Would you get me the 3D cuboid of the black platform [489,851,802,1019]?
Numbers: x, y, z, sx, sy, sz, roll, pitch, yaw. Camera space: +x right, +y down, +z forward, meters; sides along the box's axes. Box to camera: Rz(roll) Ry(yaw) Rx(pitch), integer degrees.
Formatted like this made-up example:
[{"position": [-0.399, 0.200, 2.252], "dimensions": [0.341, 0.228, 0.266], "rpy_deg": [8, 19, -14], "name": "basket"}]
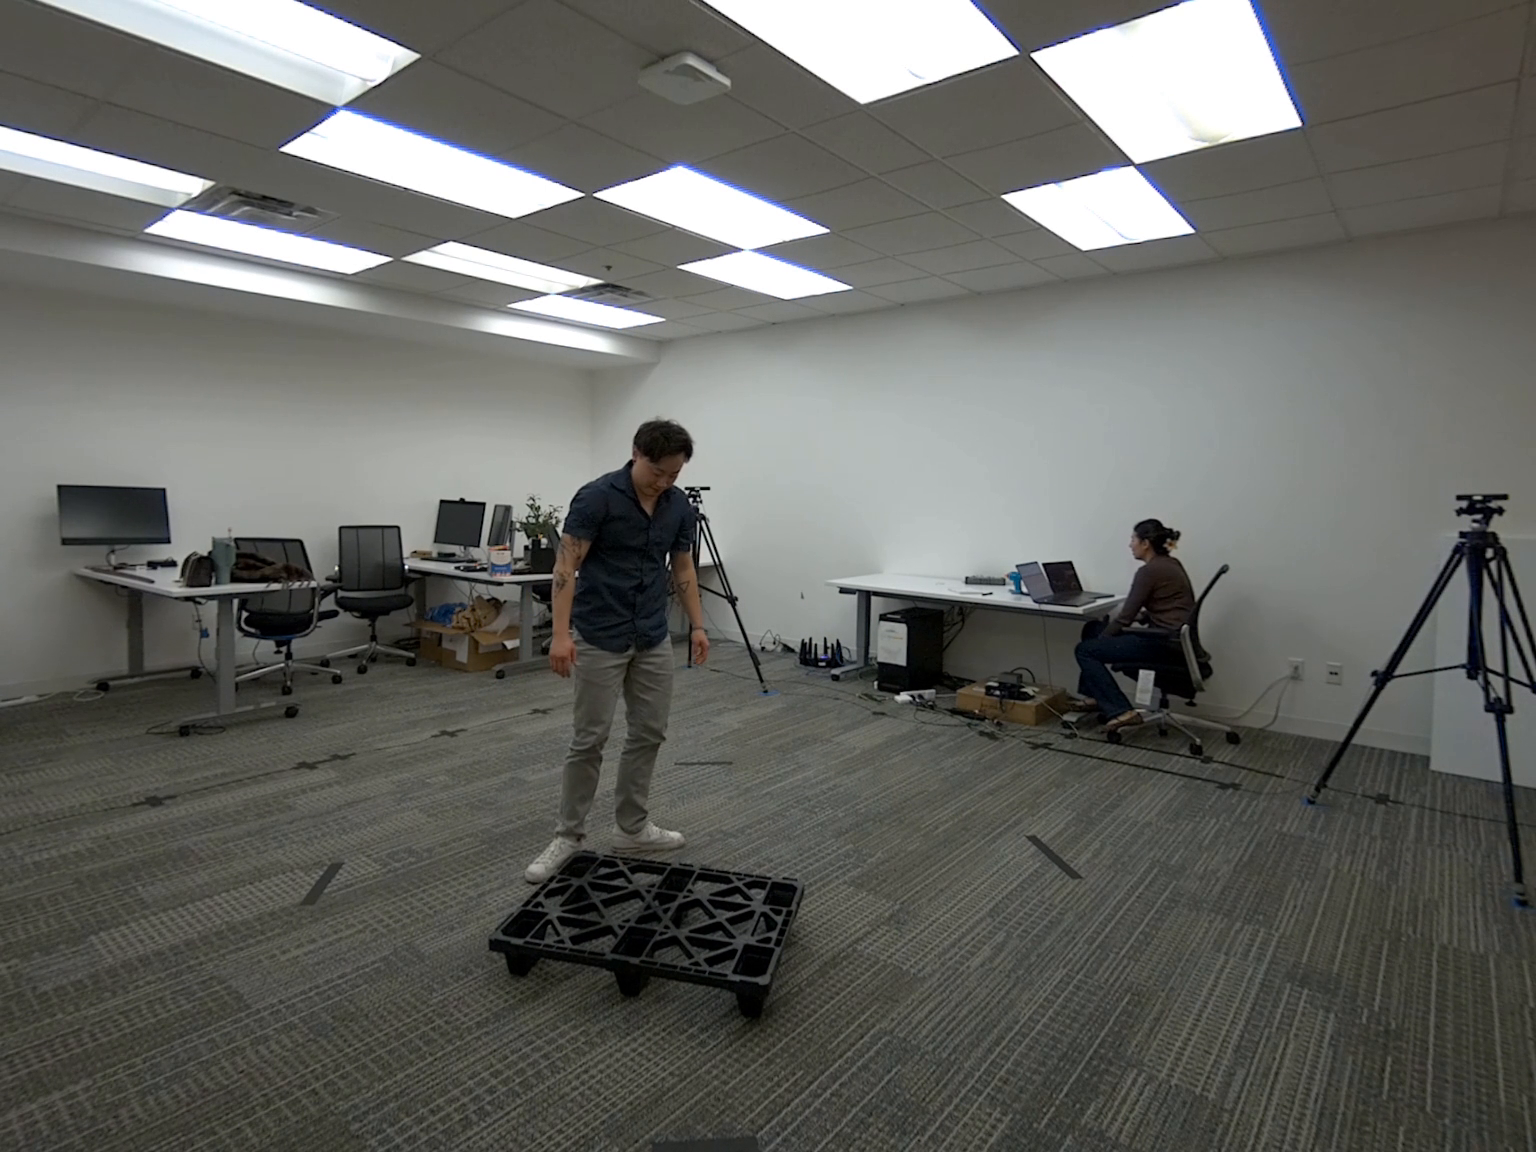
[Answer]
[{"position": [-0.342, 1.050, 2.549], "dimensions": [0.819, 0.143, 0.598], "rpy_deg": [3, 6, 14], "name": "black platform"}]
